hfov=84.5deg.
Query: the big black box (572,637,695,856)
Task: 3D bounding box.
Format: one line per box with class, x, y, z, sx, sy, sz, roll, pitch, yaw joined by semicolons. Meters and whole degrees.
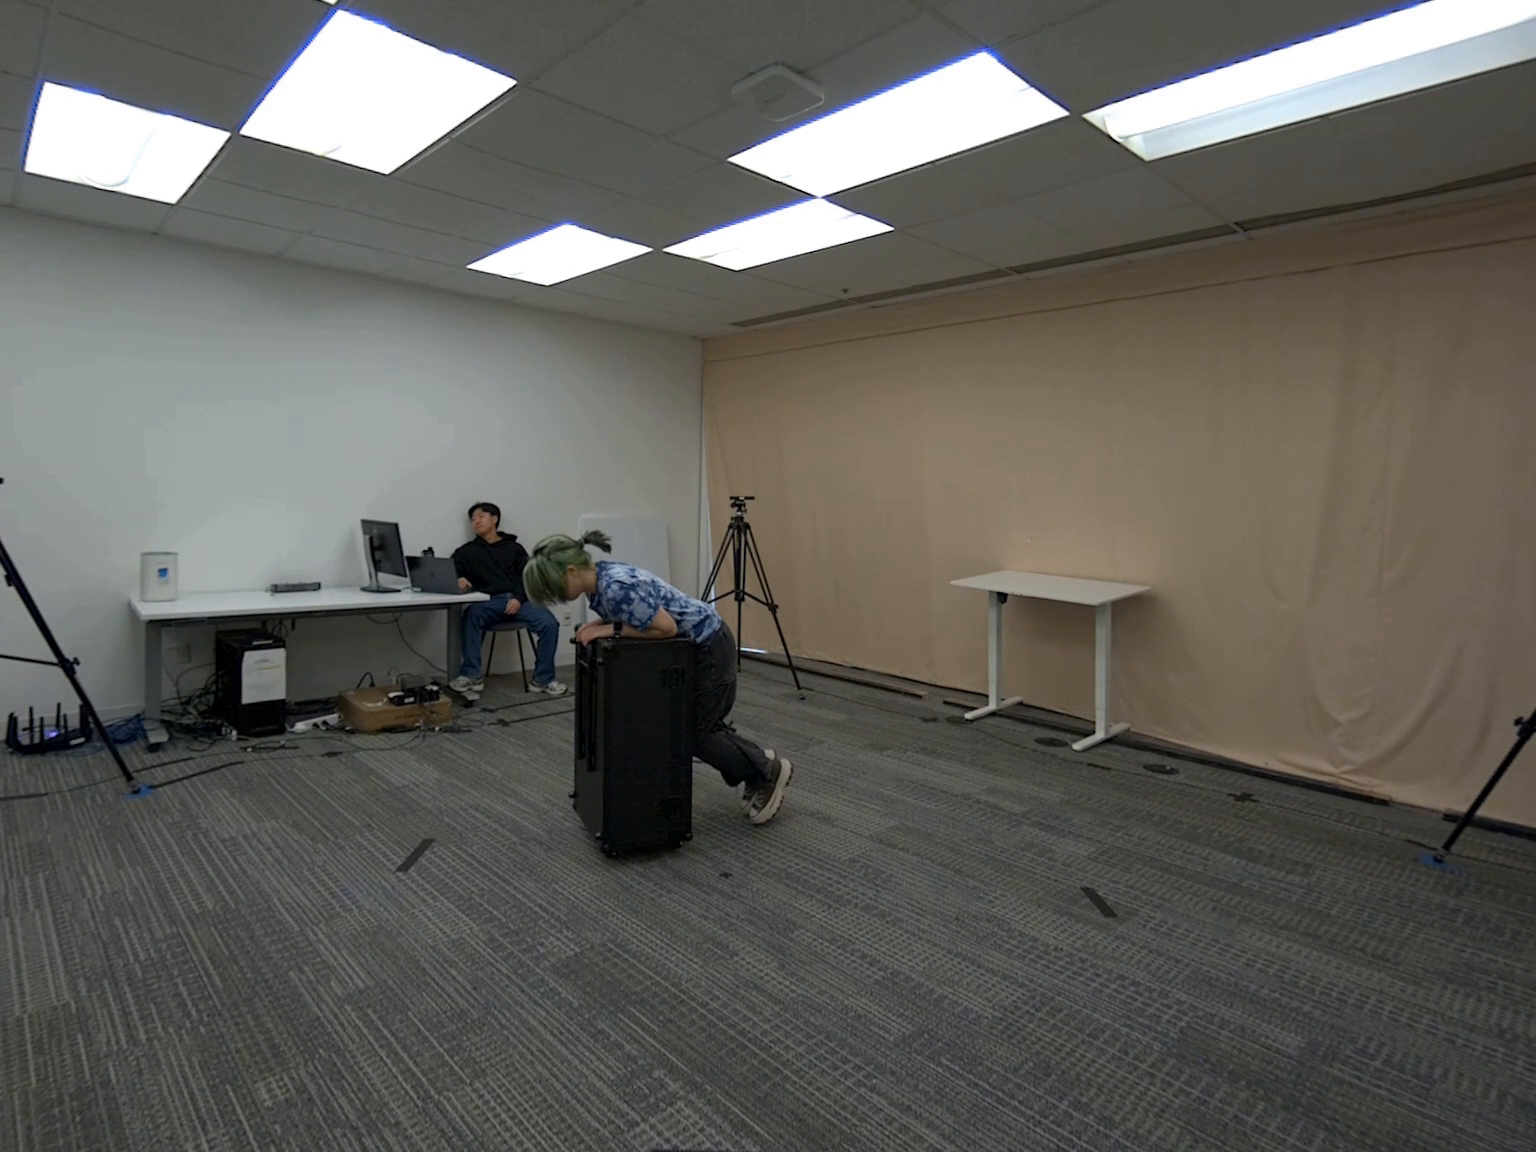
big black box;-0.568;0.596;3.363;0.389;0.859;0.532;-1;4;-25
